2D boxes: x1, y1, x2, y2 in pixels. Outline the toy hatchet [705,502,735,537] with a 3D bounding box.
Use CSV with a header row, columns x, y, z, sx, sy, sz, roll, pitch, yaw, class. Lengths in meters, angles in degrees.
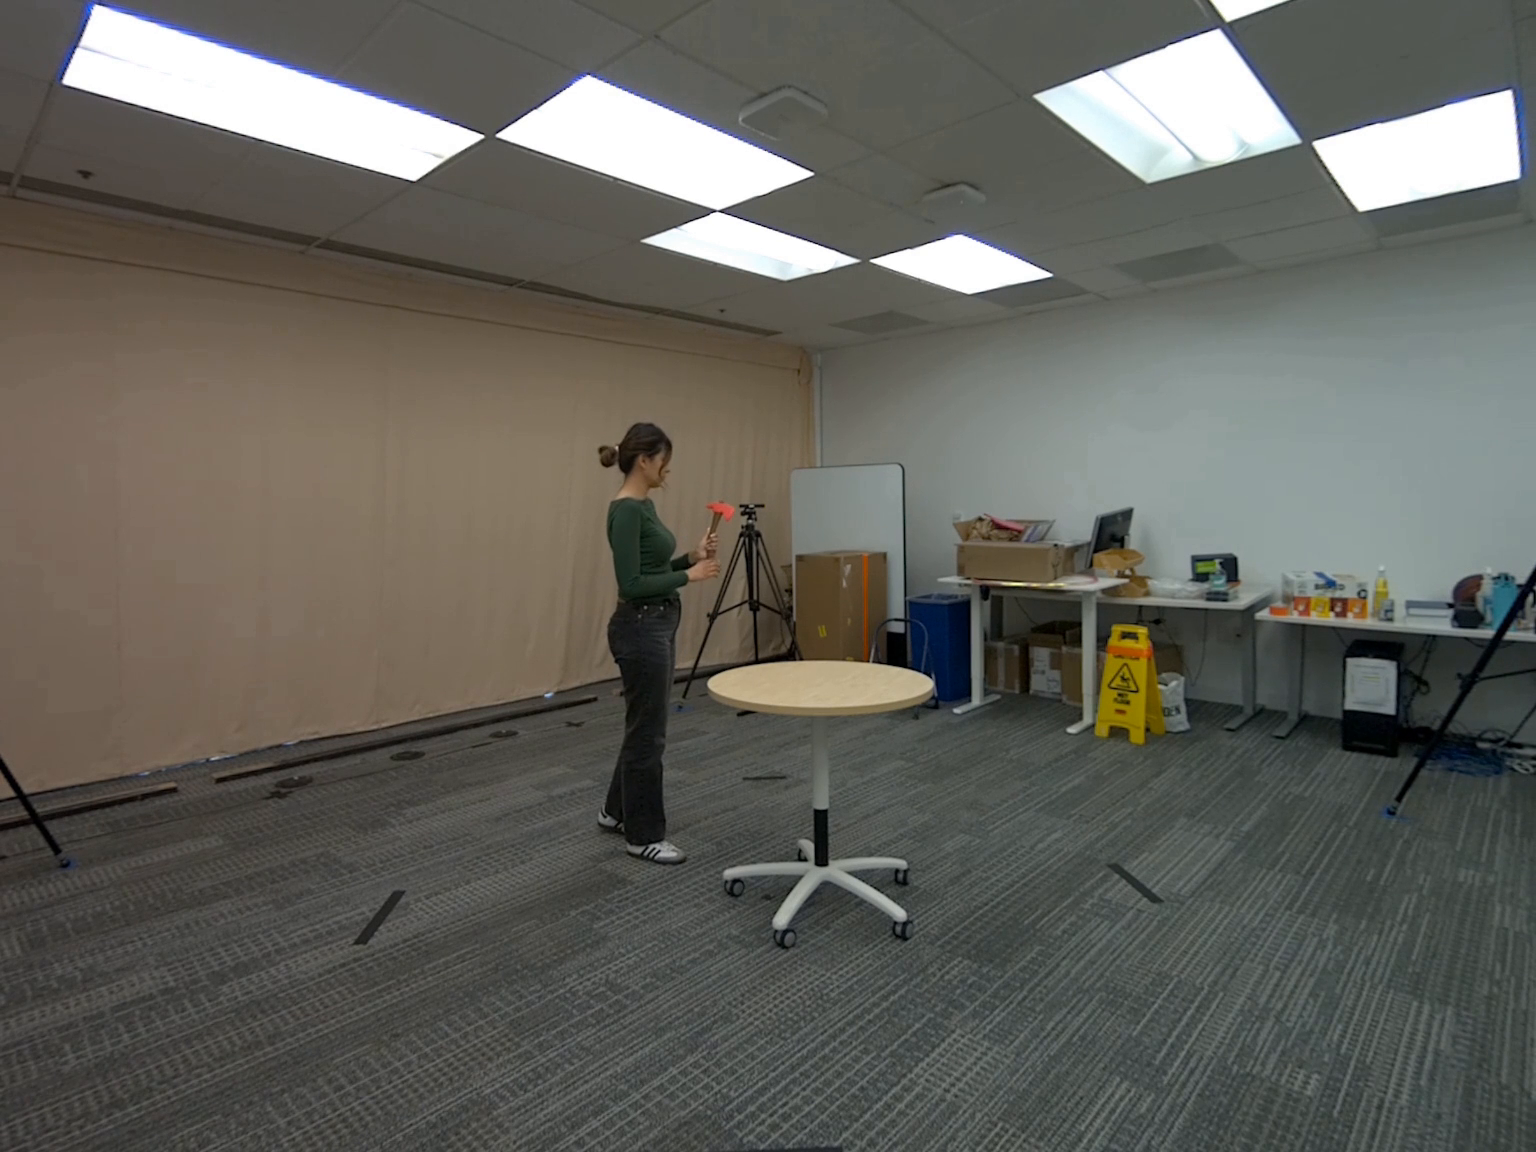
x,y,z,sx,sy,sz,roll,pitch,yaw,class
-0.190,-0.180,3.407,0.133,0.274,0.028,-11,-22,21,toy hatchet
